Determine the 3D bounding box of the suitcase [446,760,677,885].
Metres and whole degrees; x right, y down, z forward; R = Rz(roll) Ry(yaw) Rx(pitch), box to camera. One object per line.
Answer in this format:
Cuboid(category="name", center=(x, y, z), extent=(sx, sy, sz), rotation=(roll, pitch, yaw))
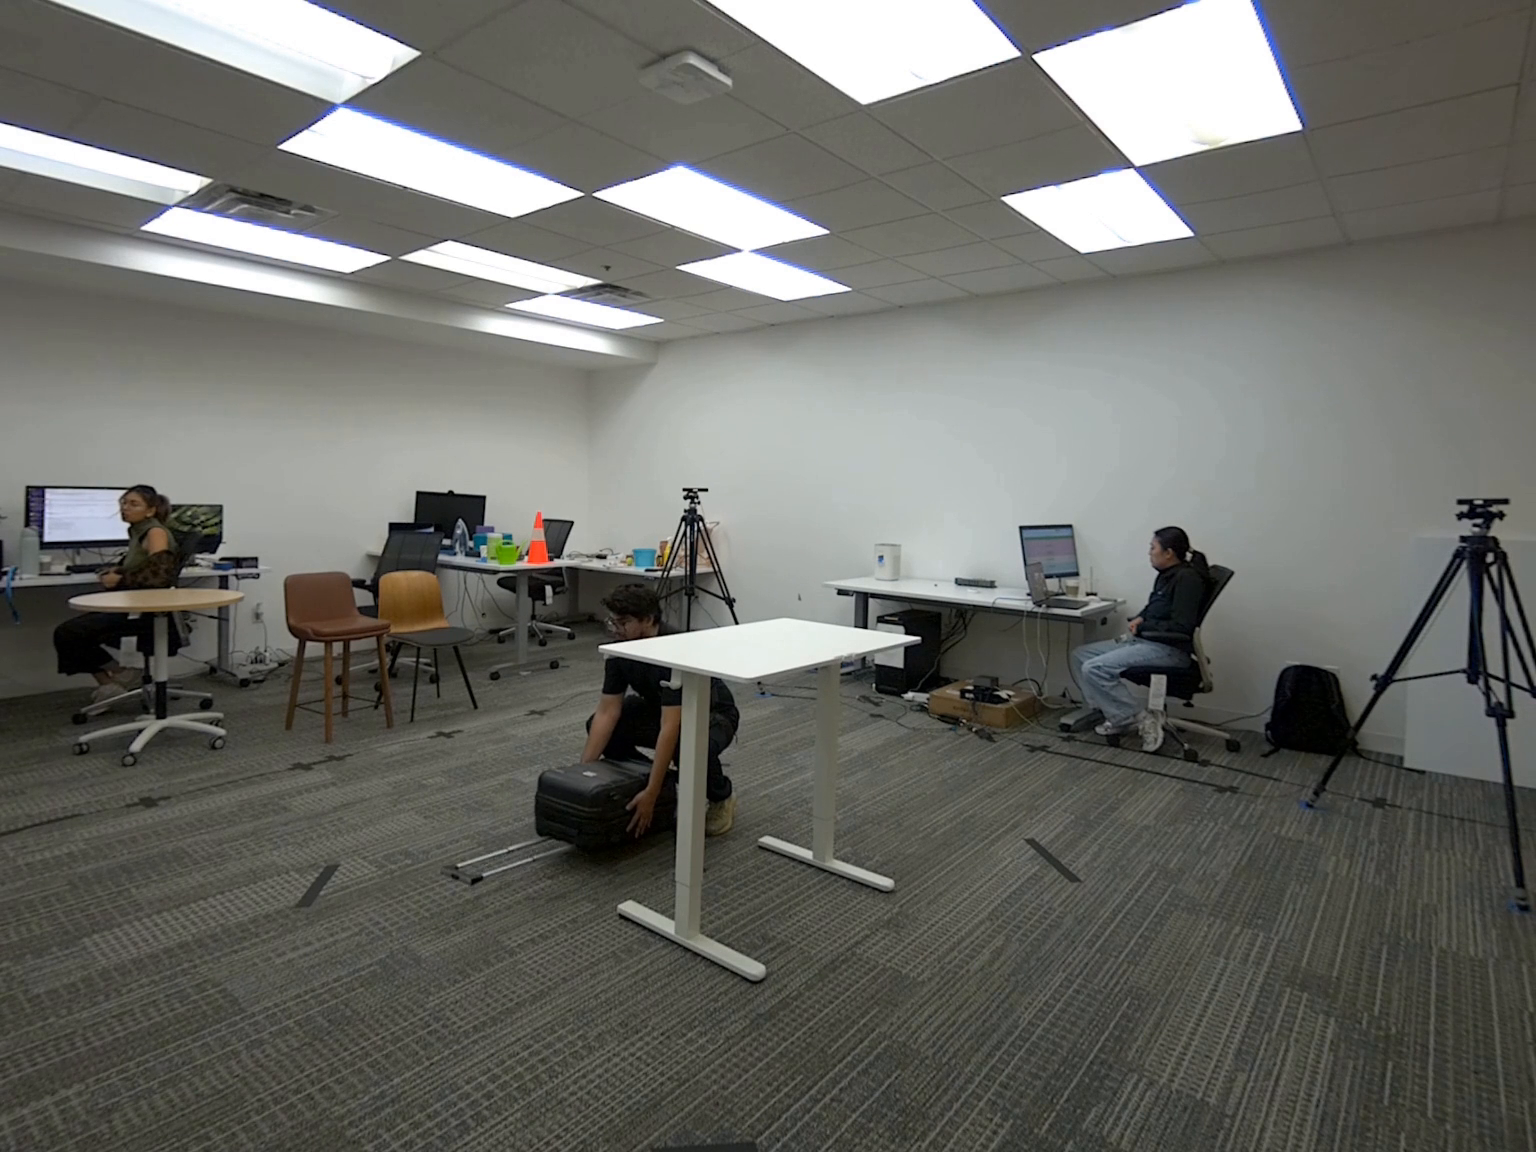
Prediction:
Cuboid(category="suitcase", center=(-0.754, 0.863, 3.146), extent=(0.396, 0.257, 0.947), rotation=(4, -1, 34))
